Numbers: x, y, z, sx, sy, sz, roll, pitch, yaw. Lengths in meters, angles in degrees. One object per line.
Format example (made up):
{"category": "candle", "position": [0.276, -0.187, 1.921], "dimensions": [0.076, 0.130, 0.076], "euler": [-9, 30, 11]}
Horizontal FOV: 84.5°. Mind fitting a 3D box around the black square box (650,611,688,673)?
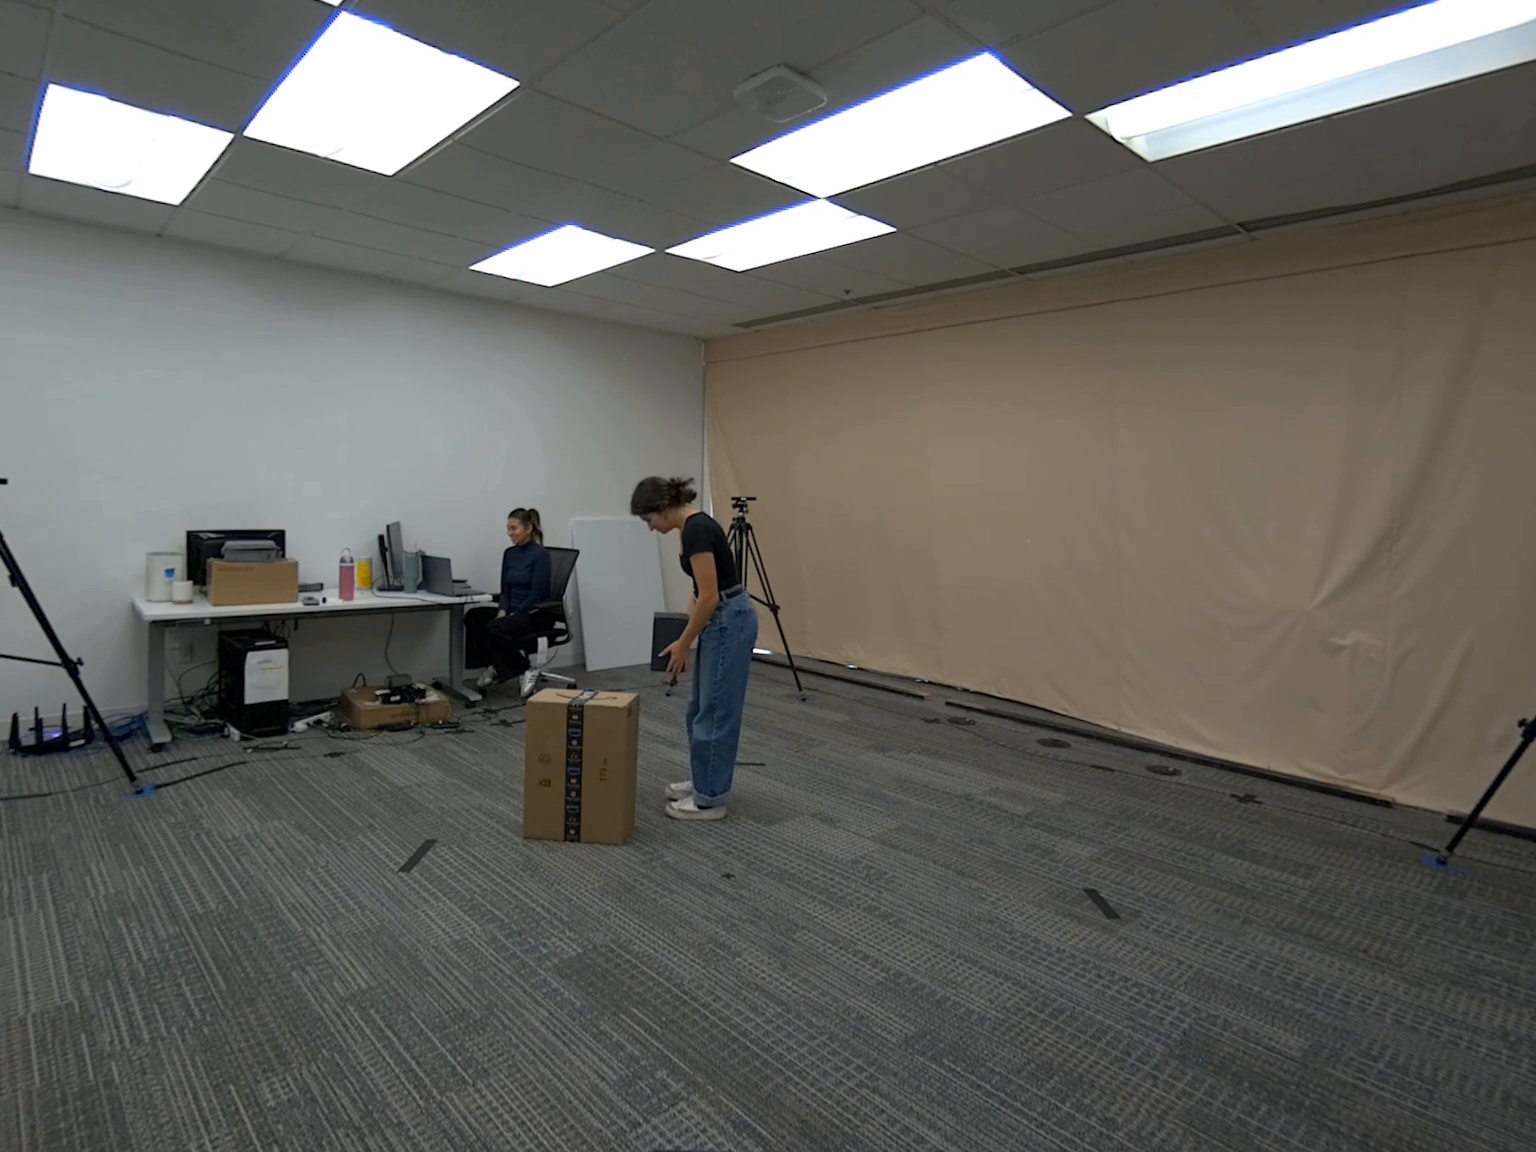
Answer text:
{"category": "black square box", "position": [-0.429, 0.281, 3.691], "dimensions": [0.155, 0.227, 0.219], "euler": [1, 4, -7]}
